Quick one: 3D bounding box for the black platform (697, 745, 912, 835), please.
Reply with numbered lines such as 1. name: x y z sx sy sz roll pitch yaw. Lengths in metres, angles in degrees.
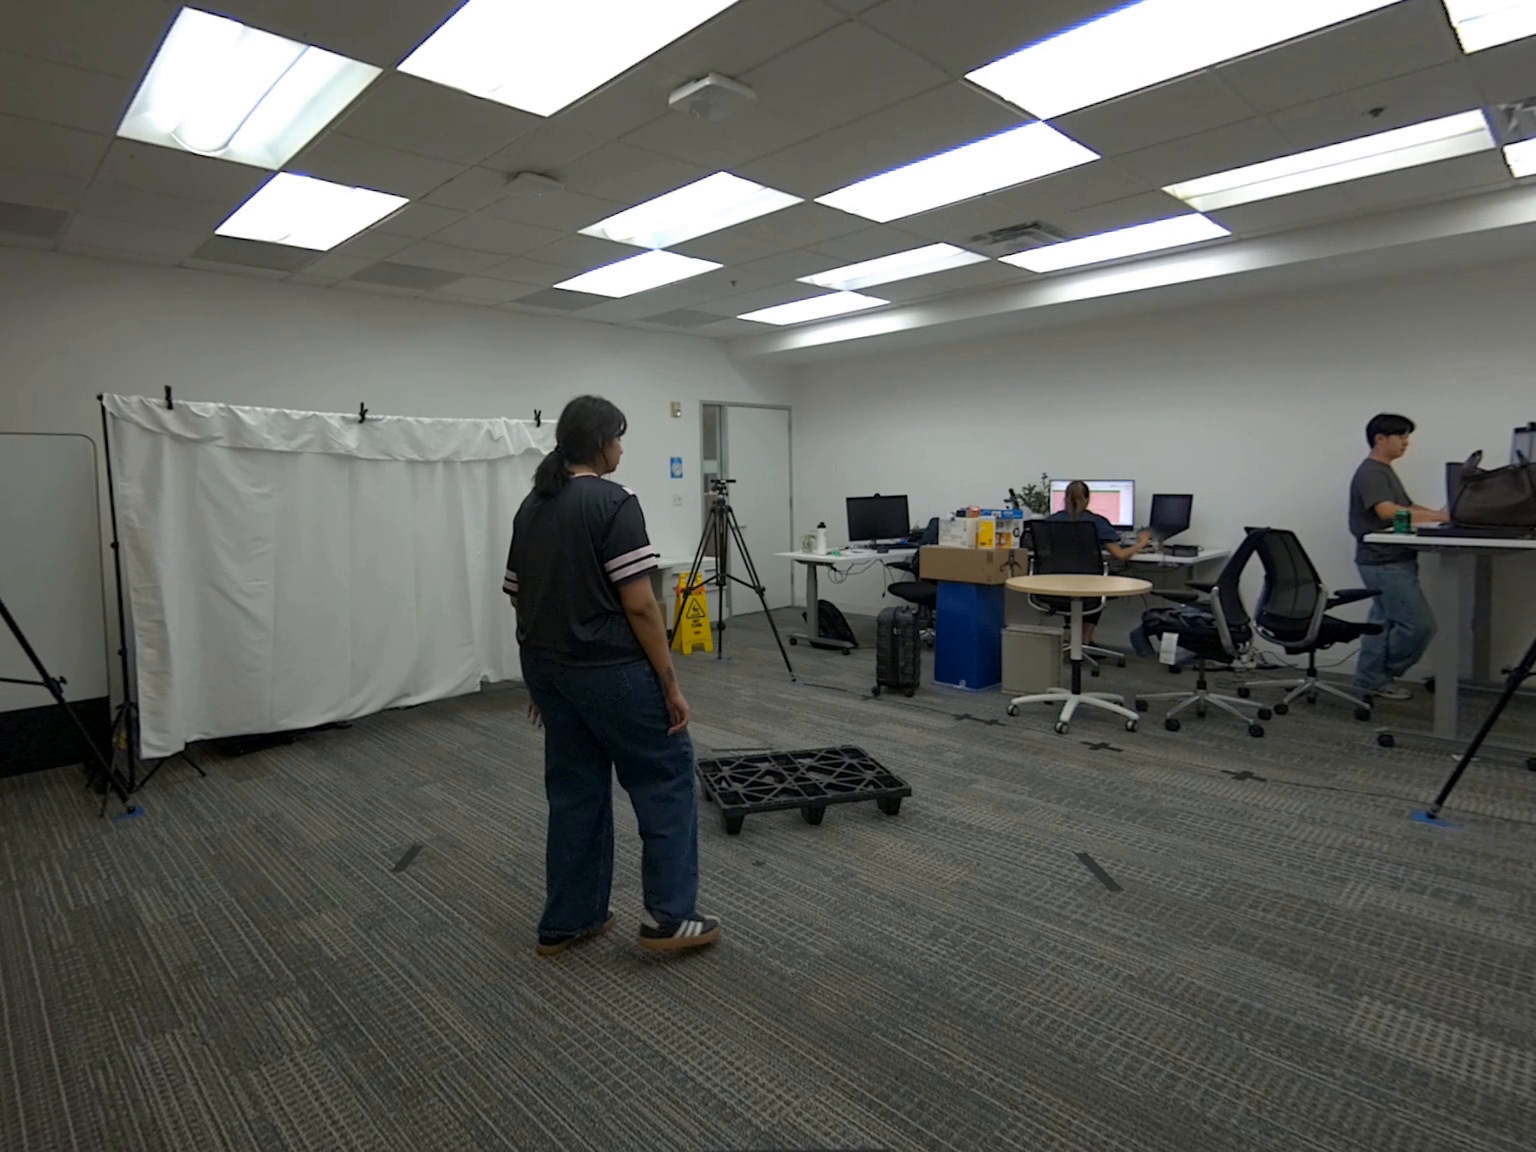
1. black platform: 0.126 0.909 3.666 0.795 0.142 0.616 -3 7 -14
